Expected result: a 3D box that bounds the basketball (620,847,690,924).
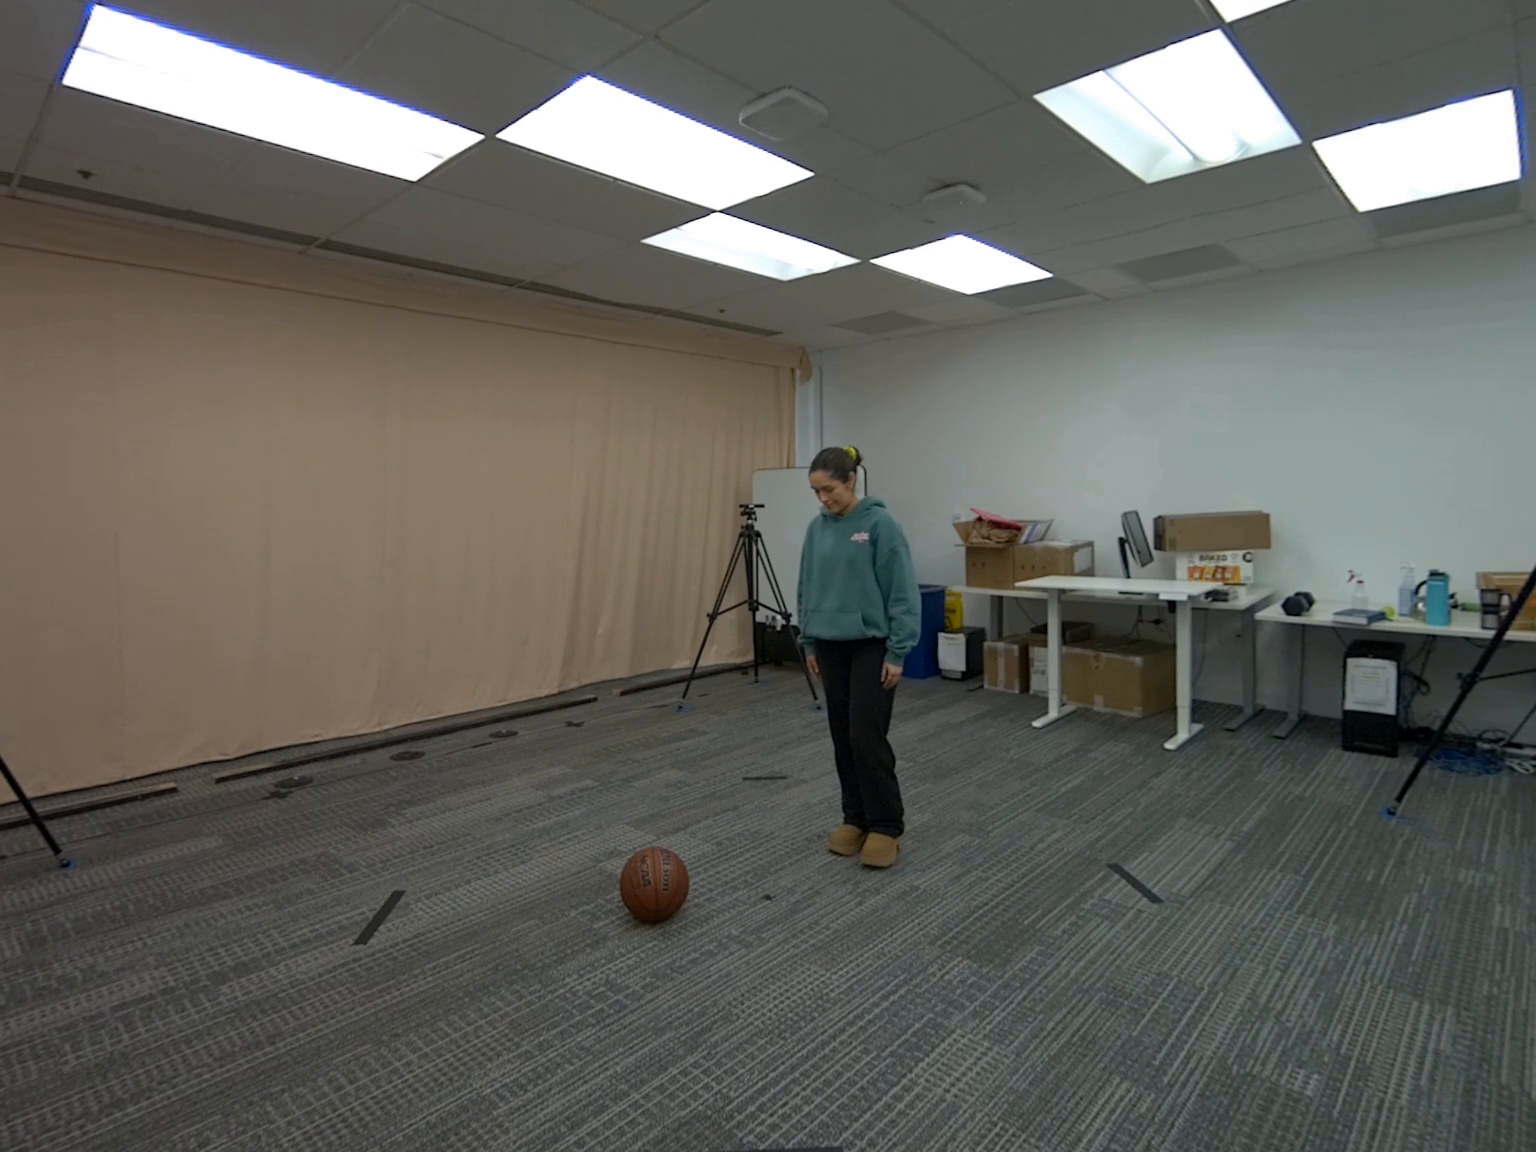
[{"bbox_3d":[-0.380,1.038,2.846,0.236,0.235,0.237,-1,4,-2],"label":"basketball"}]
